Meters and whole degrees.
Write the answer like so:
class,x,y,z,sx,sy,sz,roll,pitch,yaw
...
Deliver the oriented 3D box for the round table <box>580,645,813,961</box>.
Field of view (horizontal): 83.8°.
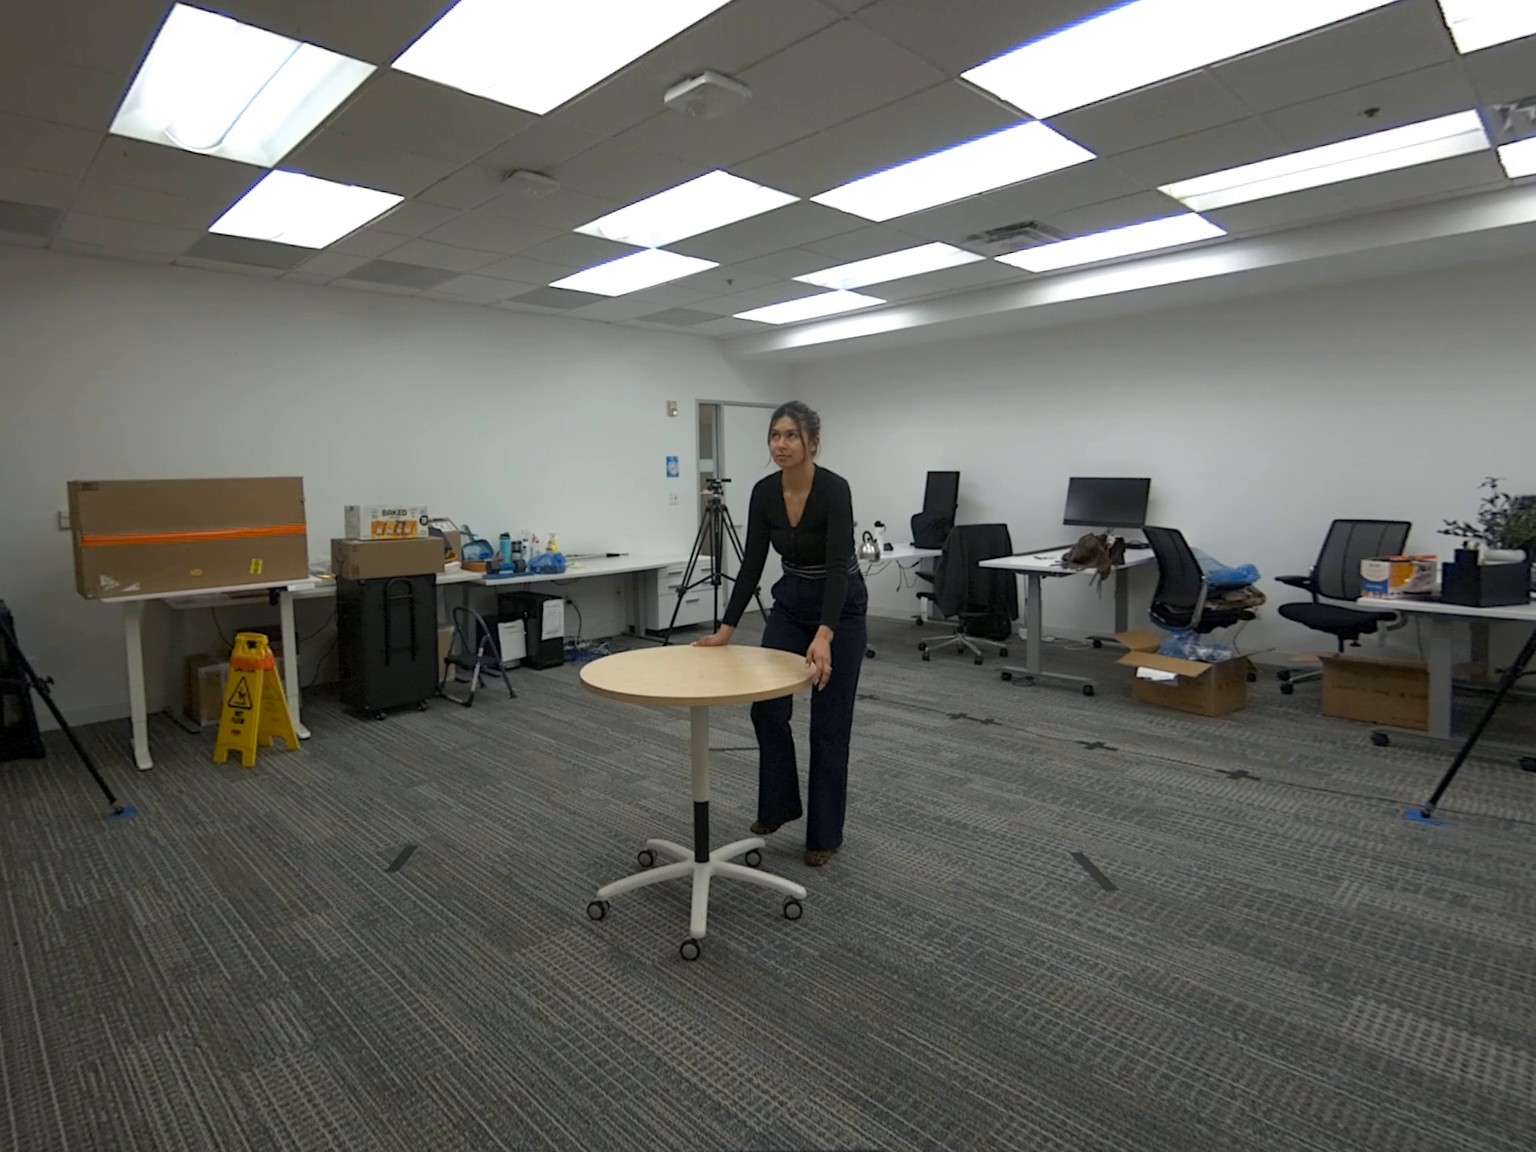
class,x,y,z,sx,sy,sz,roll,pitch,yaw
round table,-0.219,0.691,2.809,0.763,0.790,0.768,-1,5,-2
